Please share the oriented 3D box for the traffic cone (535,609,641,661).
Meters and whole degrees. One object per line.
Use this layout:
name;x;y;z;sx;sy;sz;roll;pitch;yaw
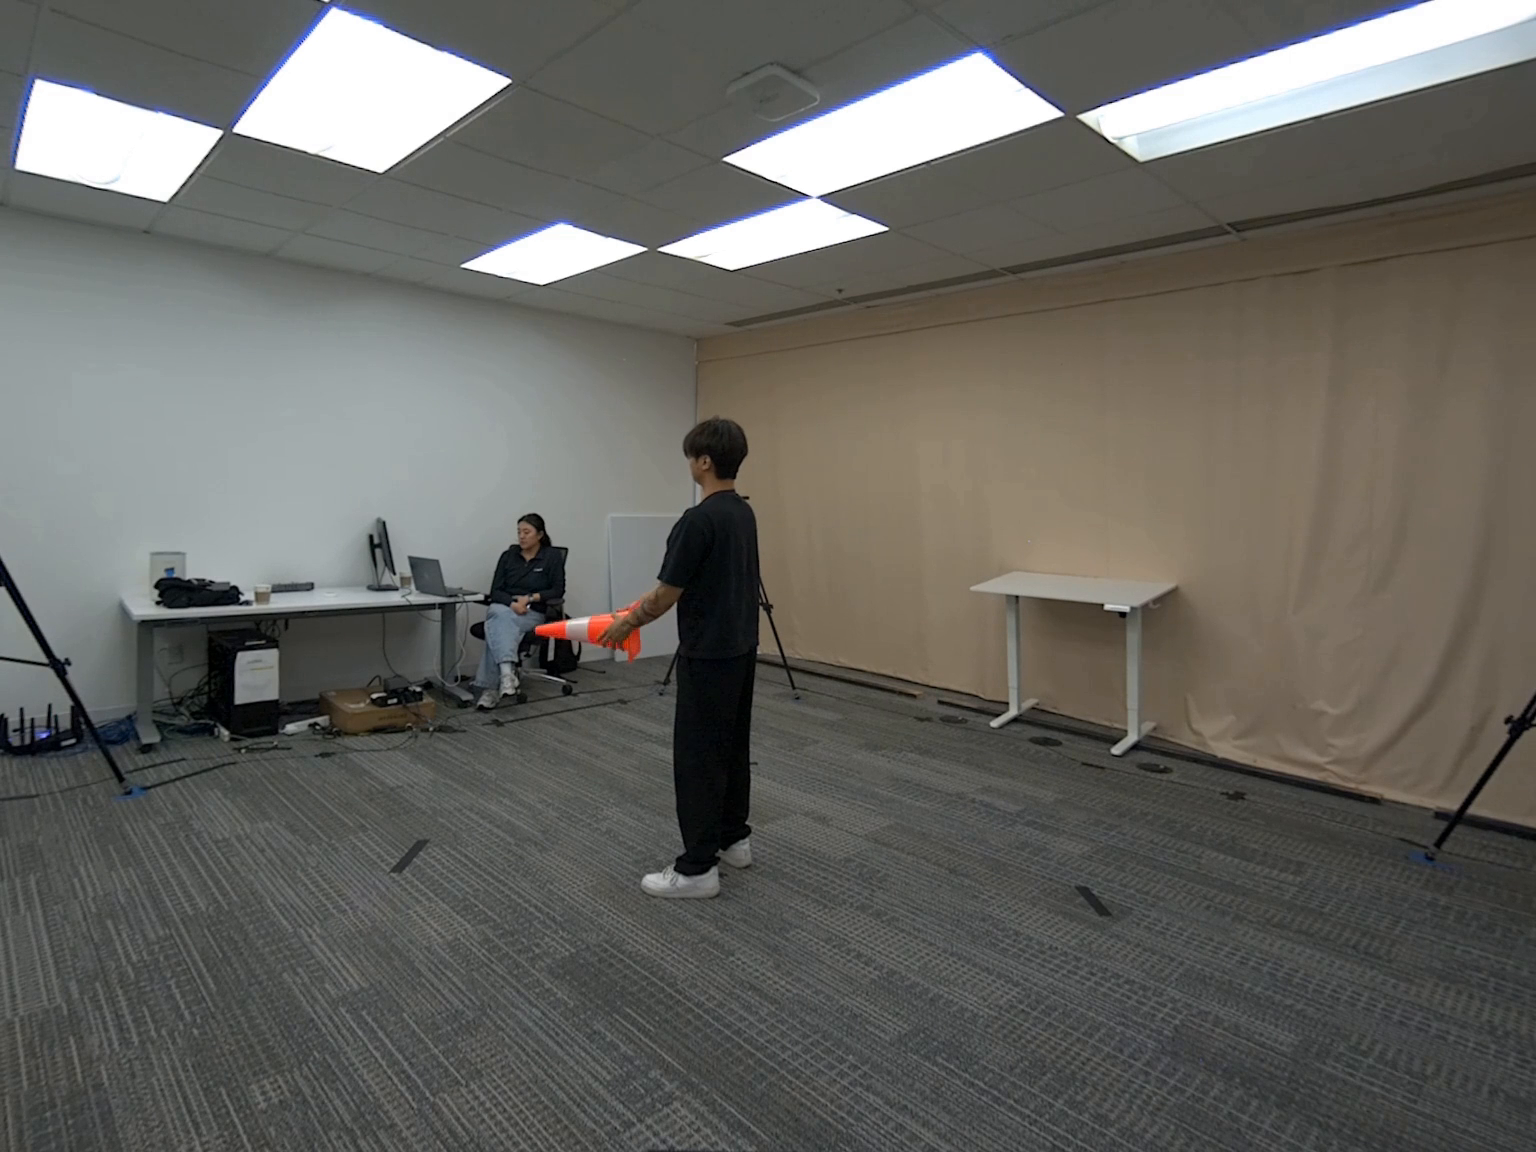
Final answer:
traffic cone;-0.693;0.191;3.174;0.386;0.203;0.204;0;12;6
